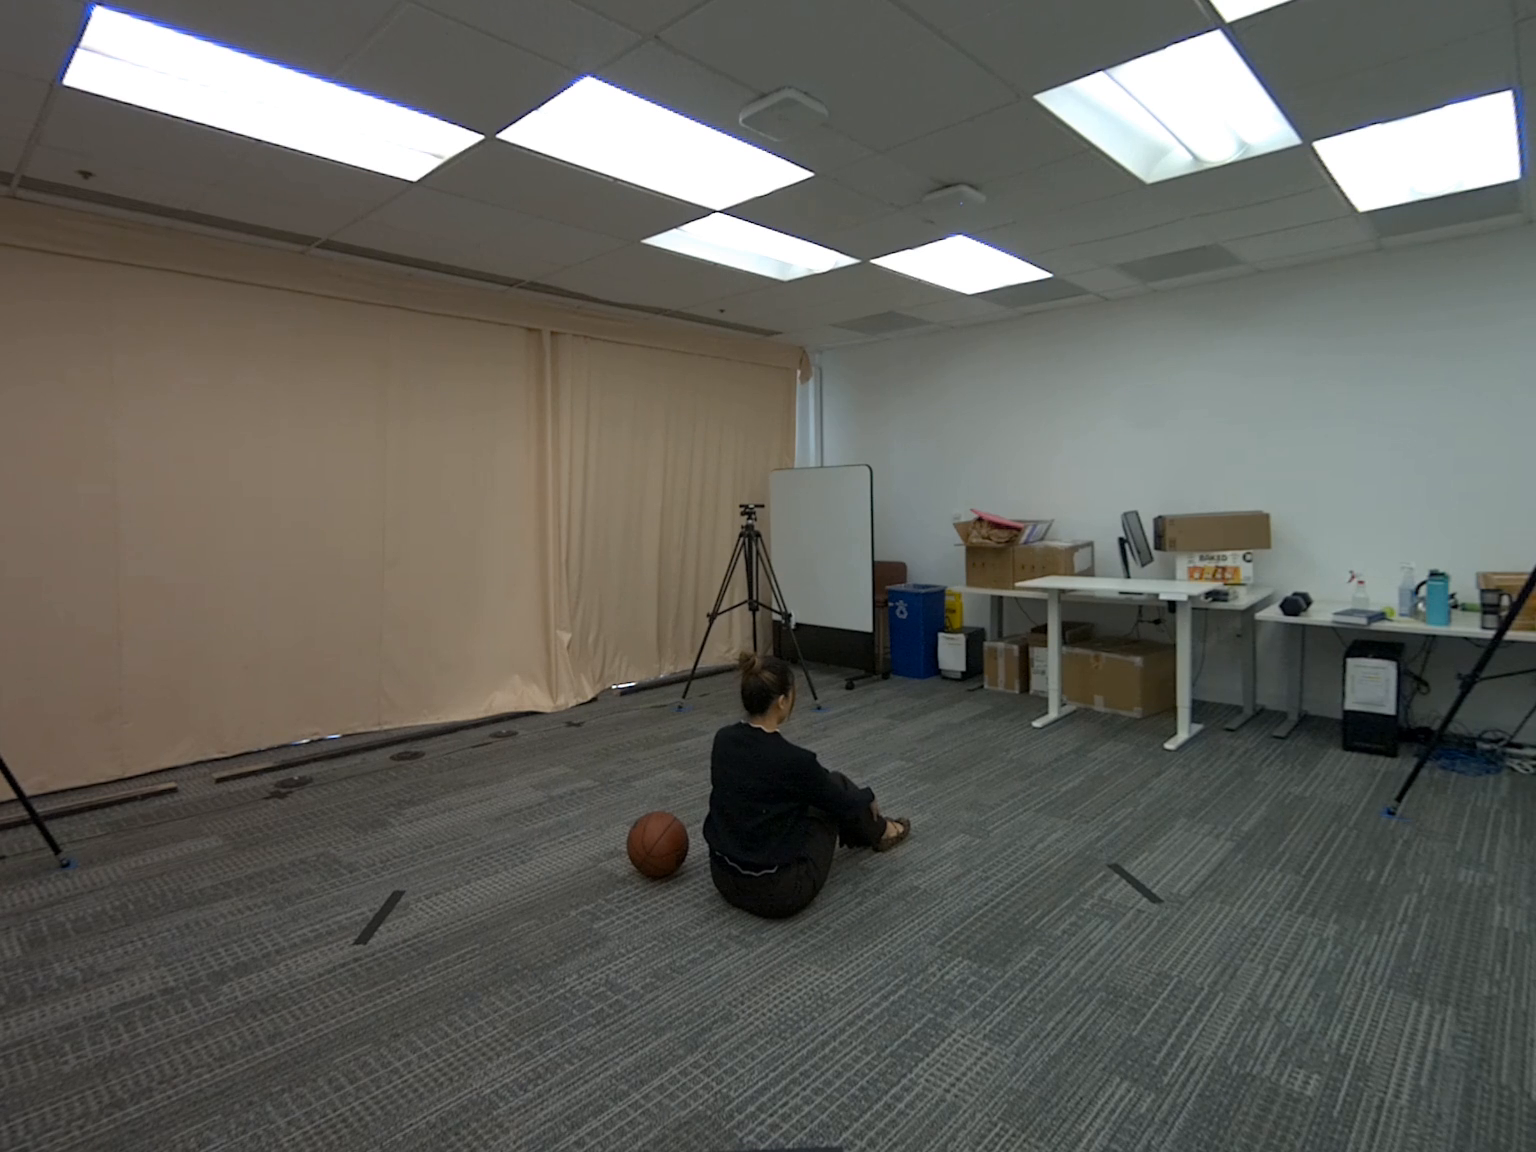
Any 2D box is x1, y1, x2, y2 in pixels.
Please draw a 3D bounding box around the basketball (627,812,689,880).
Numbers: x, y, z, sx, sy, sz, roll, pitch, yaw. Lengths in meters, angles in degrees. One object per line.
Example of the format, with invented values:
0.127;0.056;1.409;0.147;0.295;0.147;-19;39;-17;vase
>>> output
-0.415;1.016;3.185;0.236;0.235;0.237;-1;4;-2;basketball
